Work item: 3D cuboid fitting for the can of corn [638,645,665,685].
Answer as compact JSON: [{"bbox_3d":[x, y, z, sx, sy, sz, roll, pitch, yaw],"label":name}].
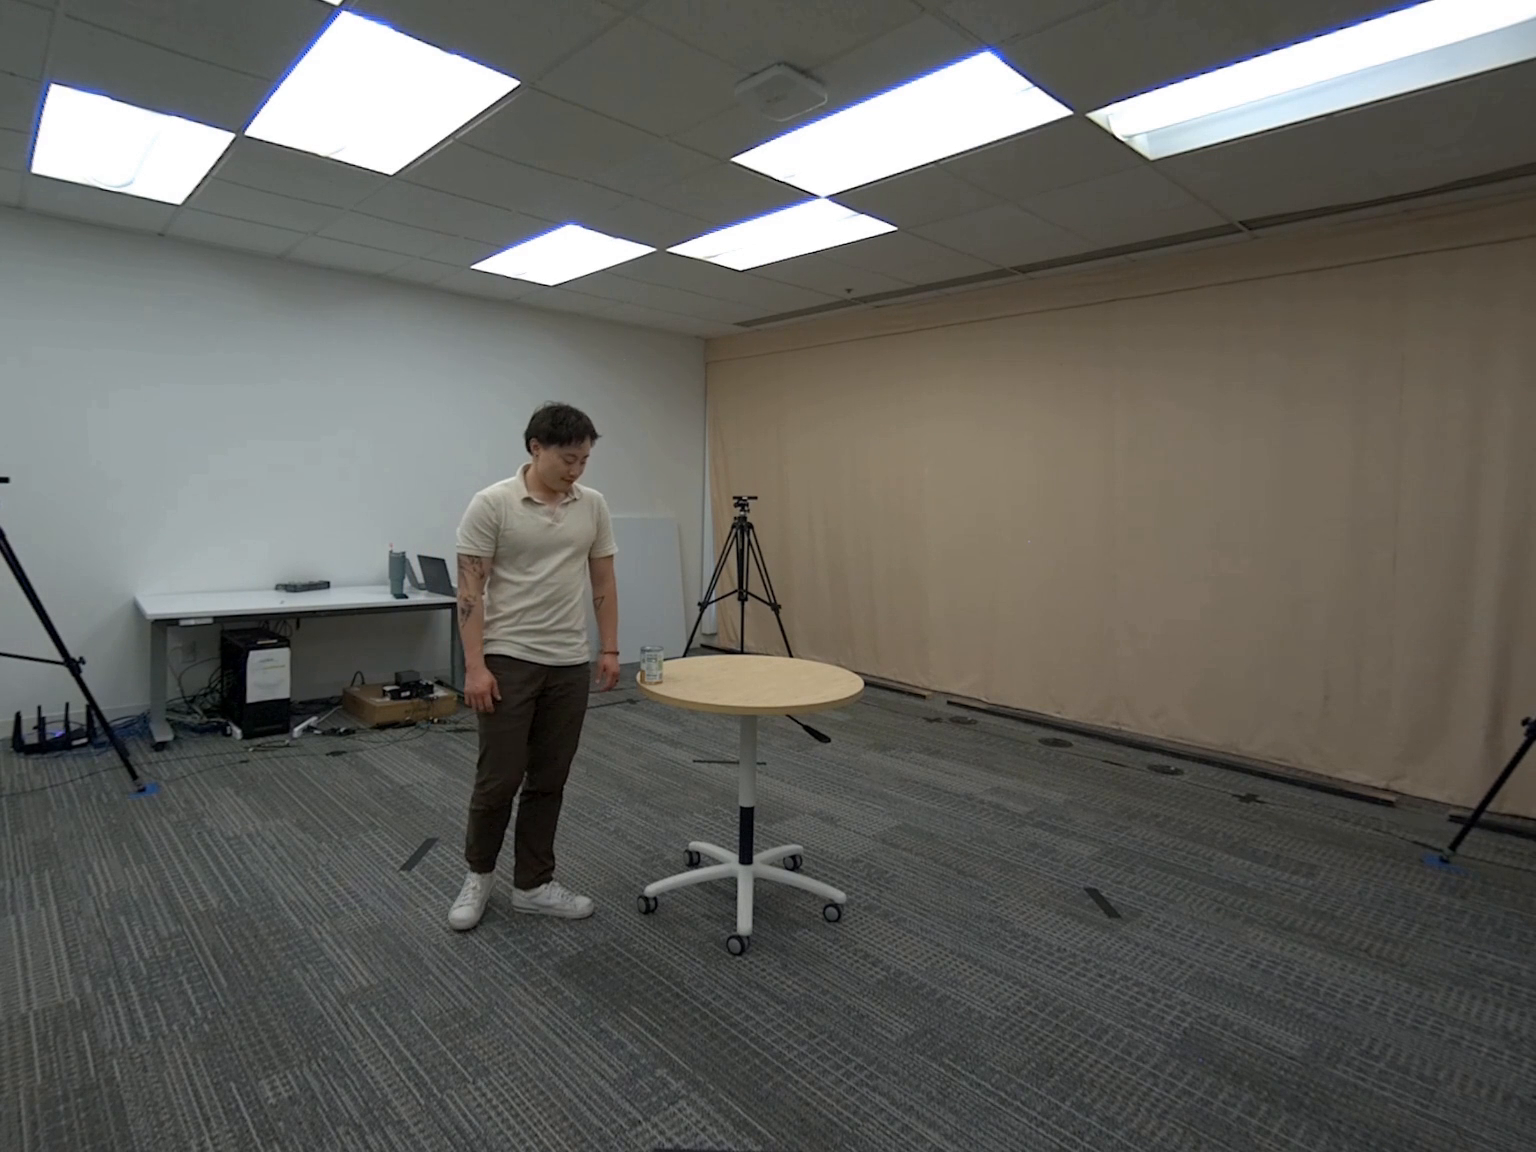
[{"bbox_3d":[-0.391,0.293,2.734,0.074,0.110,0.074,0,7,-1],"label":"can of corn"}]
